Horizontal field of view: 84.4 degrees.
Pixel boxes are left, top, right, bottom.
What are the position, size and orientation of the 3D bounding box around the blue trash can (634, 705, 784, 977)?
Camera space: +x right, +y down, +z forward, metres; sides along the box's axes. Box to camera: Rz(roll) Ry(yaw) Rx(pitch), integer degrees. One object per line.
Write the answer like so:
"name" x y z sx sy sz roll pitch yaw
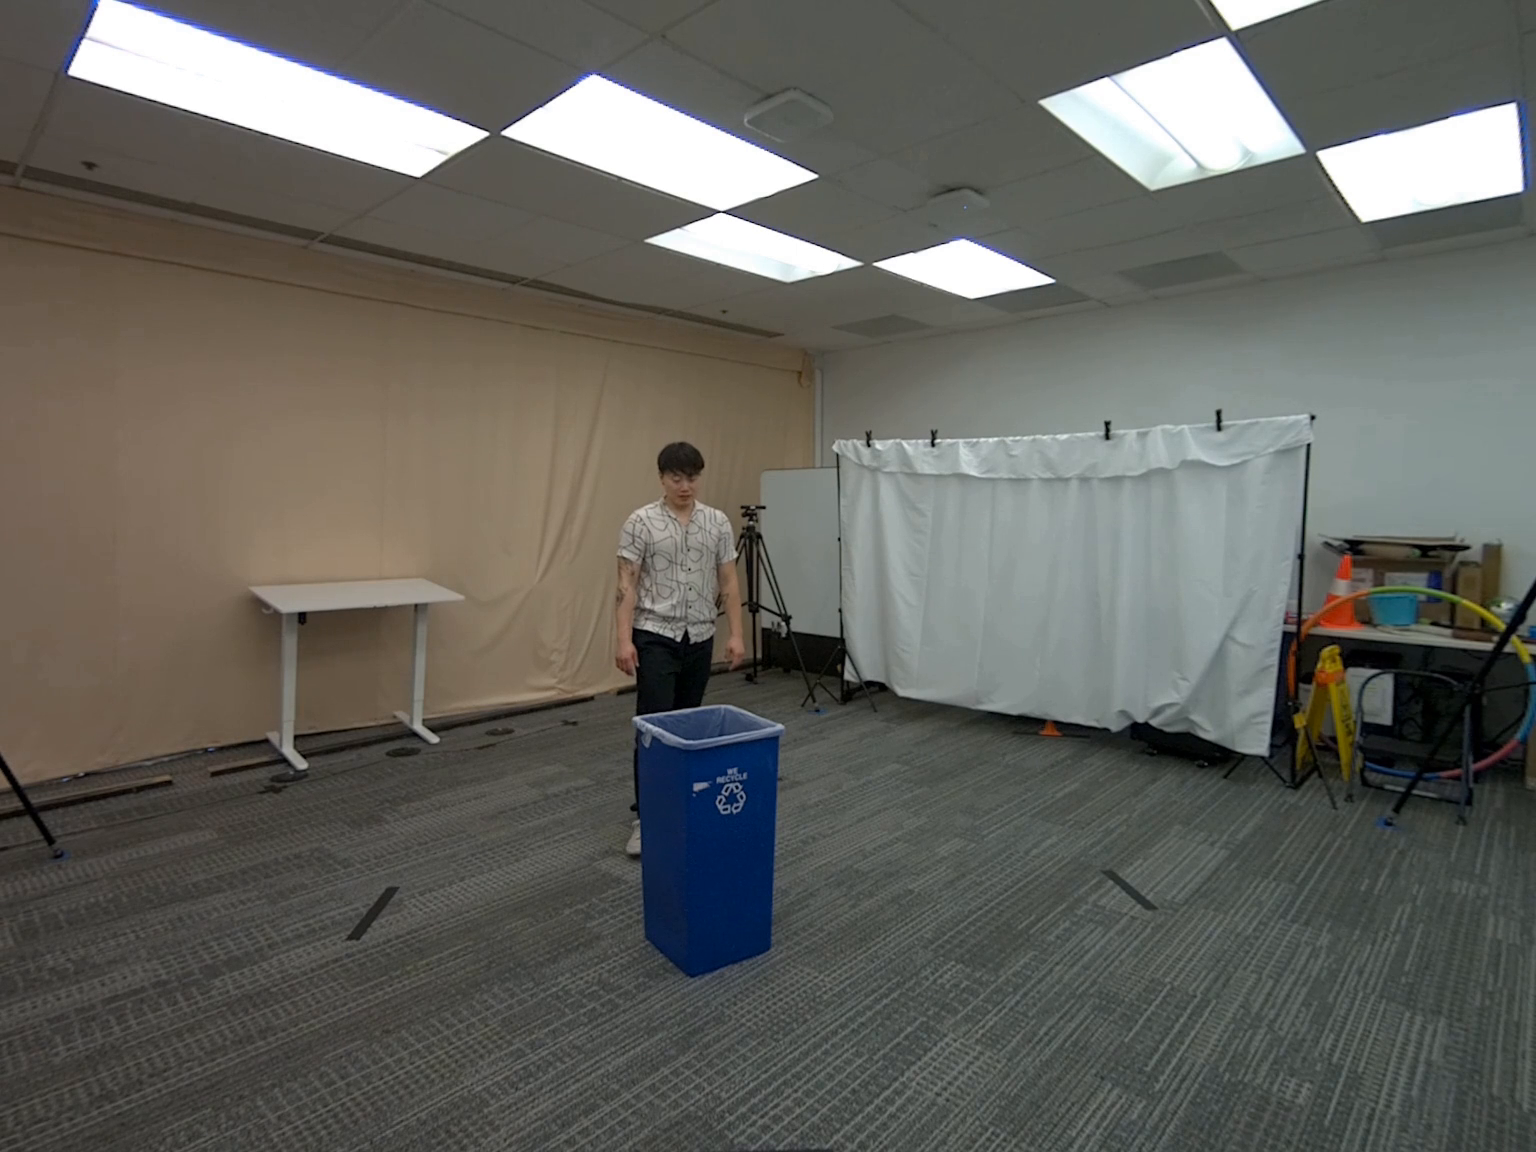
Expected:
"blue trash can" -0.180 0.818 2.666 0.363 0.712 0.390 -2 5 -35
